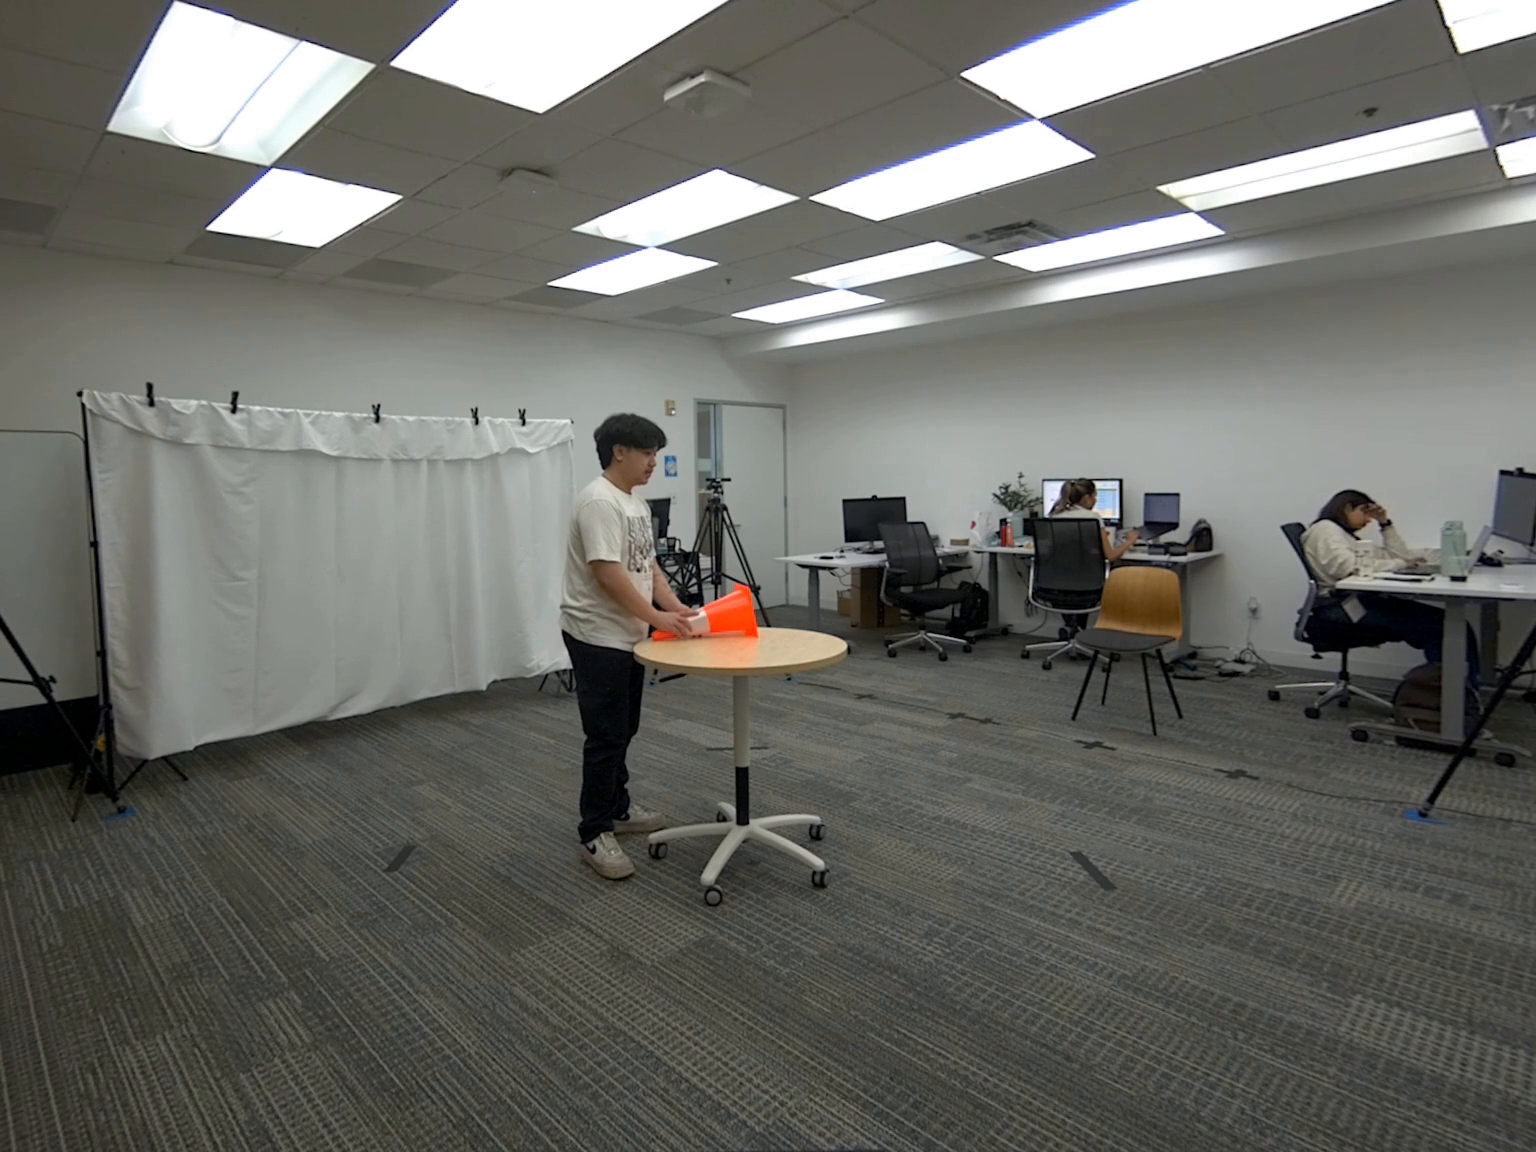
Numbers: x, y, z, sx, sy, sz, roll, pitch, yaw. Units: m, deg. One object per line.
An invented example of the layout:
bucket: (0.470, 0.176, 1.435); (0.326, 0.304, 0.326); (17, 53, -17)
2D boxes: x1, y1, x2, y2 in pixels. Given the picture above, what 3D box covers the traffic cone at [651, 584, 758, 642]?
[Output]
traffic cone: (-0.264, 0.184, 3.228); (0.380, 0.201, 0.209); (-16, 10, -14)
